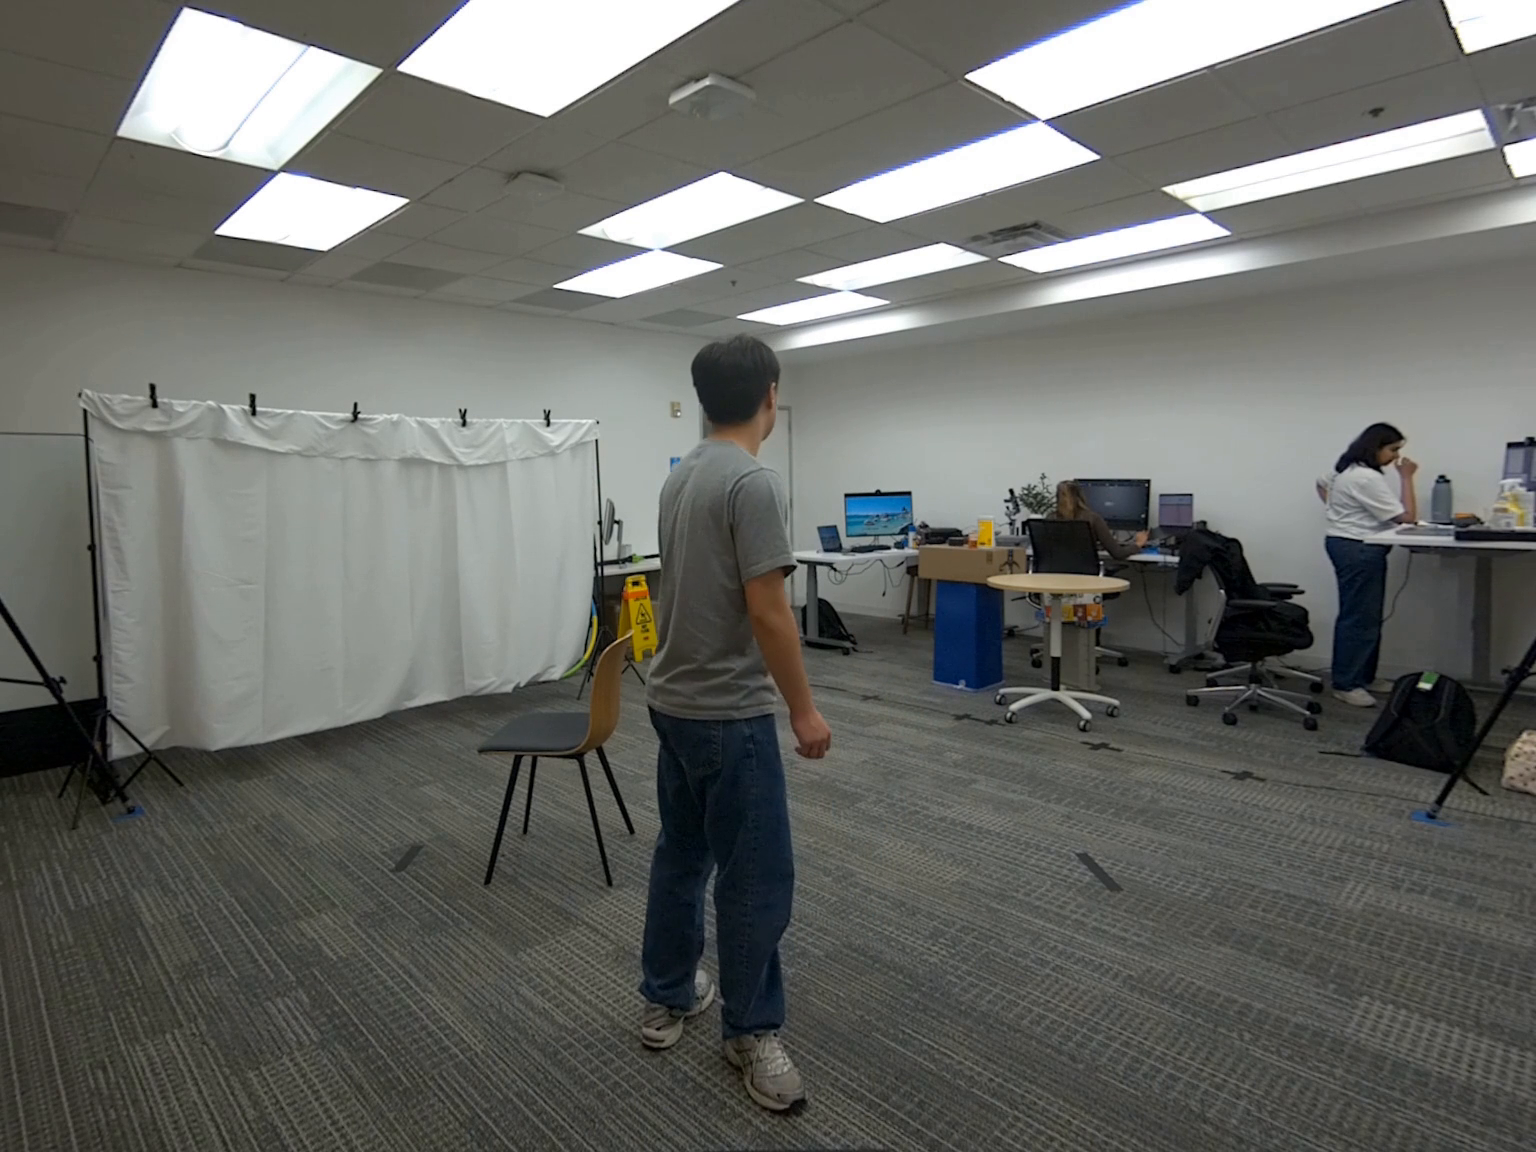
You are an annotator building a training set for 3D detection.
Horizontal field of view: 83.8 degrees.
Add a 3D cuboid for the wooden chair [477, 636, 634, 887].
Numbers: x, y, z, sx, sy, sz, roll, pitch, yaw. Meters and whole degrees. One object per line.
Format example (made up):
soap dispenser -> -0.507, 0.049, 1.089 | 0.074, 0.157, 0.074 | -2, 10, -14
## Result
wooden chair -> -0.778, 0.632, 3.149 | 0.525, 0.874, 0.479 | 2, 5, 2
